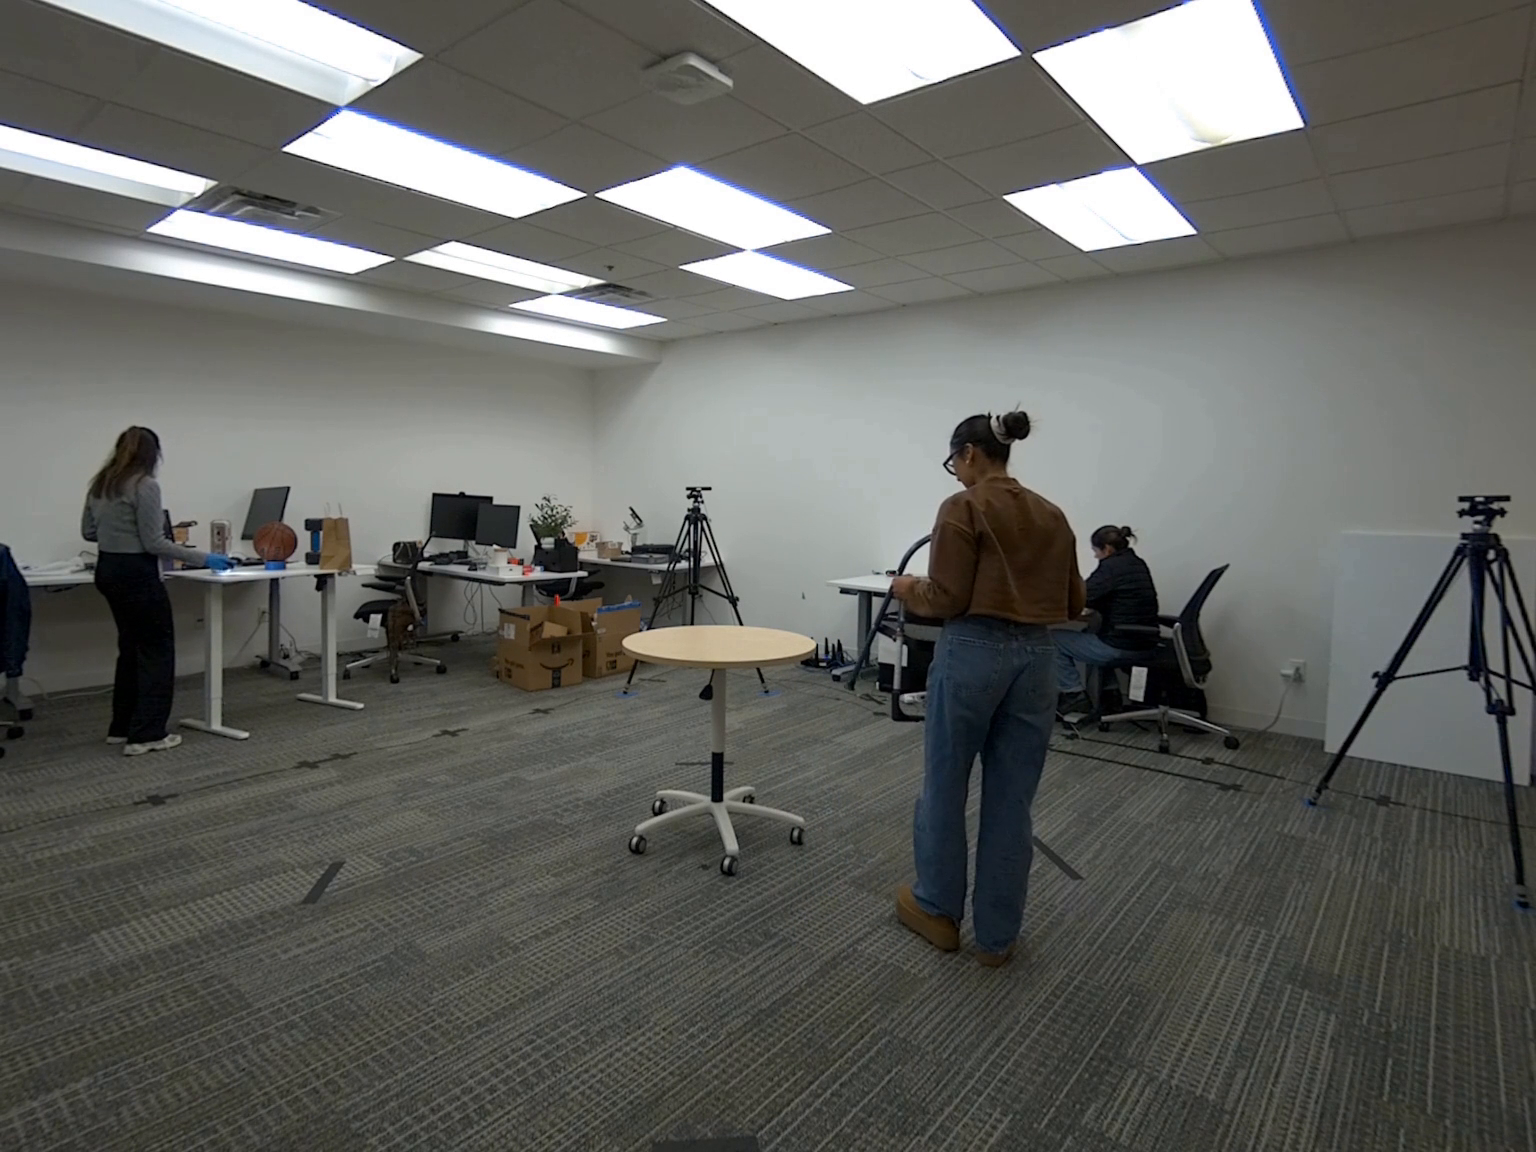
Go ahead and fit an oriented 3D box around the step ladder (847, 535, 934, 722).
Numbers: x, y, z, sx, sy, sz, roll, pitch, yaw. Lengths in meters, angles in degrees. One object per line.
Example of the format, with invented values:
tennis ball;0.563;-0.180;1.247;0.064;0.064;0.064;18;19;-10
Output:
step ladder;0.562;0.144;2.814;0.420;0.602;0.360;7;8;-23
